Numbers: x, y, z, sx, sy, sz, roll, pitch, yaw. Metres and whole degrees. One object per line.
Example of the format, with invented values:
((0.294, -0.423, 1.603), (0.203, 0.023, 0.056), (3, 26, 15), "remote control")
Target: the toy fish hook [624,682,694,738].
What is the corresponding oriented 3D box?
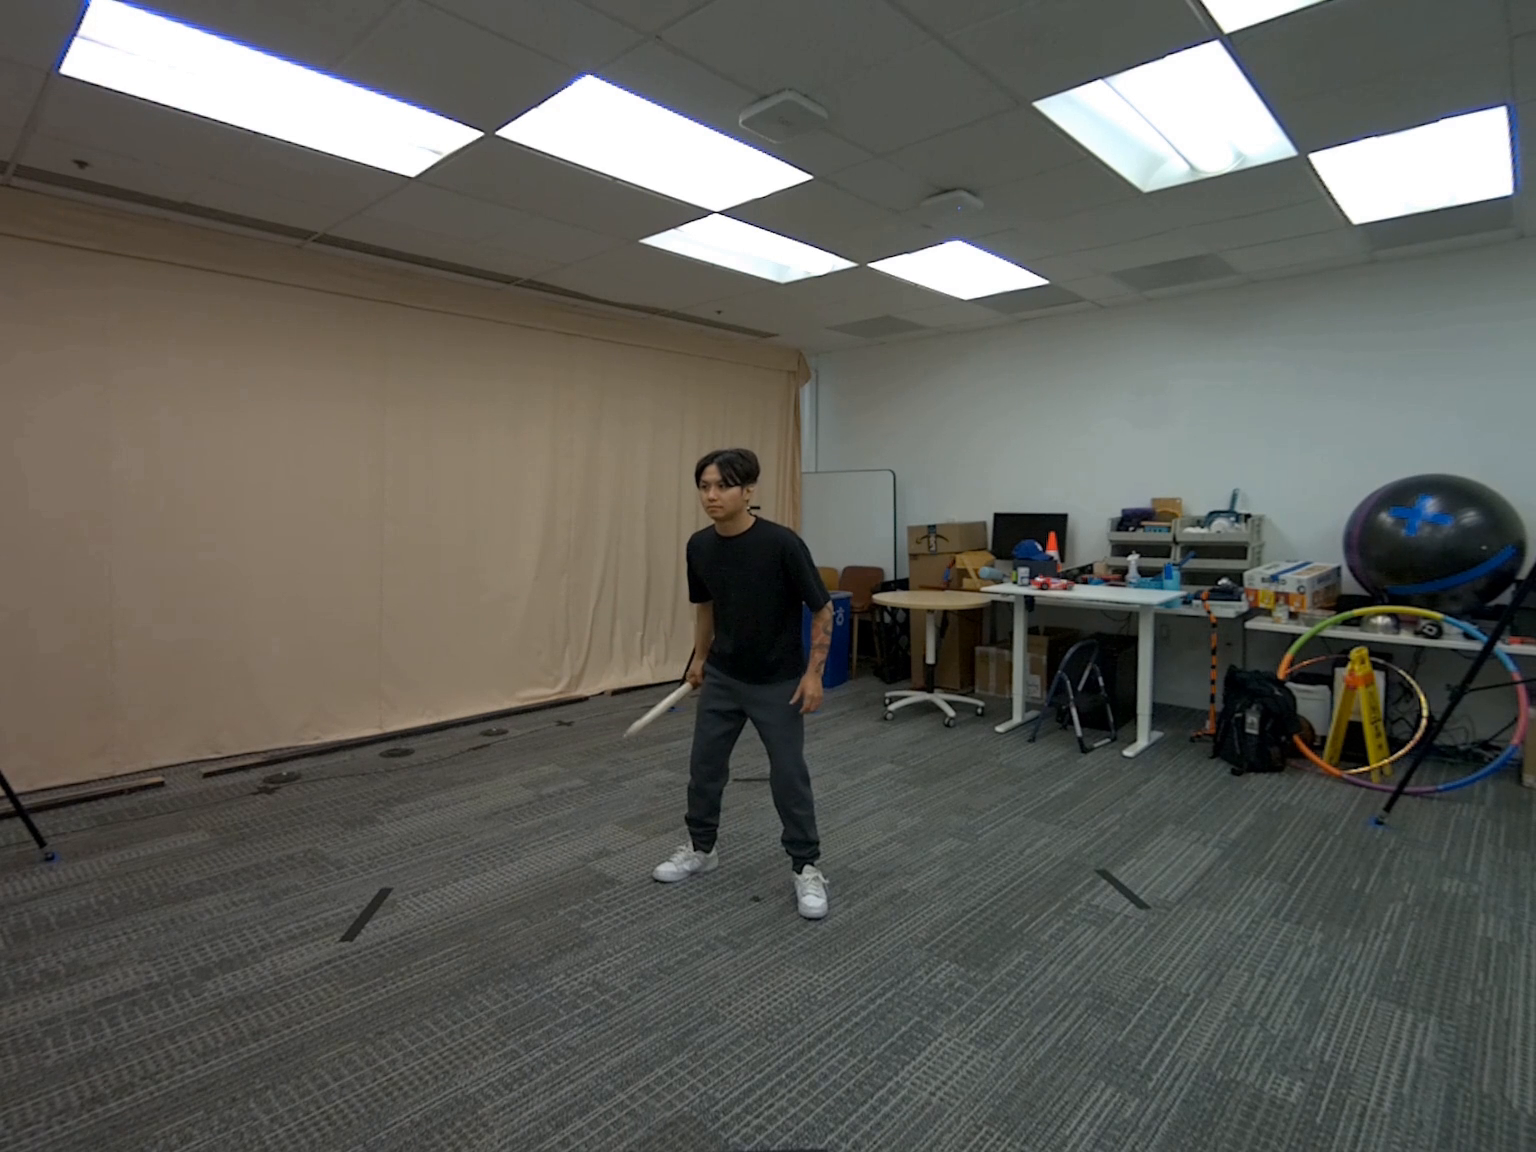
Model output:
((-0.364, 0.467, 3.277), (0.501, 0.048, 0.227), (-36, 2, -23), "toy fish hook")
